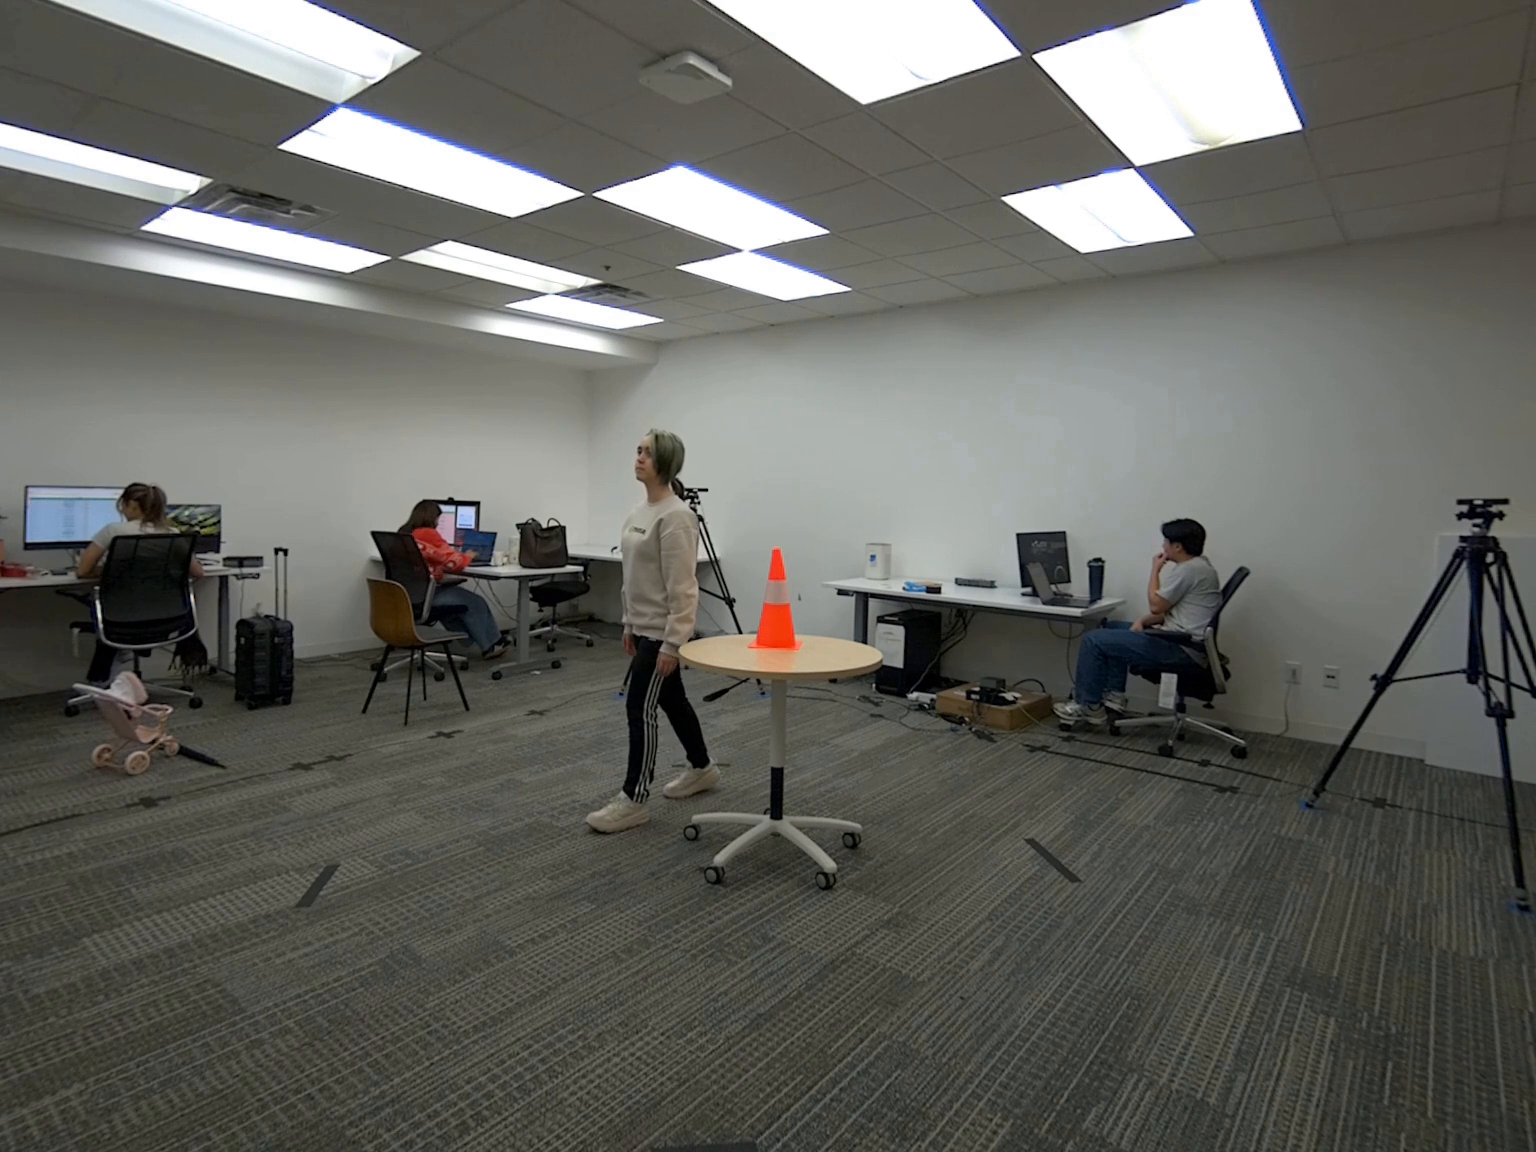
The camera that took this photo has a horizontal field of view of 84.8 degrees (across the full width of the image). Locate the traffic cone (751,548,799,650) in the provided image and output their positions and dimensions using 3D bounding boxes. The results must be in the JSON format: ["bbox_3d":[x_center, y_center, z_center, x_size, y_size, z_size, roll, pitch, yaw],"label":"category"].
[{"bbox_3d":[0.021,0.079,3.344,0.207,0.382,0.202,1,5,10],"label":"traffic cone"}]
